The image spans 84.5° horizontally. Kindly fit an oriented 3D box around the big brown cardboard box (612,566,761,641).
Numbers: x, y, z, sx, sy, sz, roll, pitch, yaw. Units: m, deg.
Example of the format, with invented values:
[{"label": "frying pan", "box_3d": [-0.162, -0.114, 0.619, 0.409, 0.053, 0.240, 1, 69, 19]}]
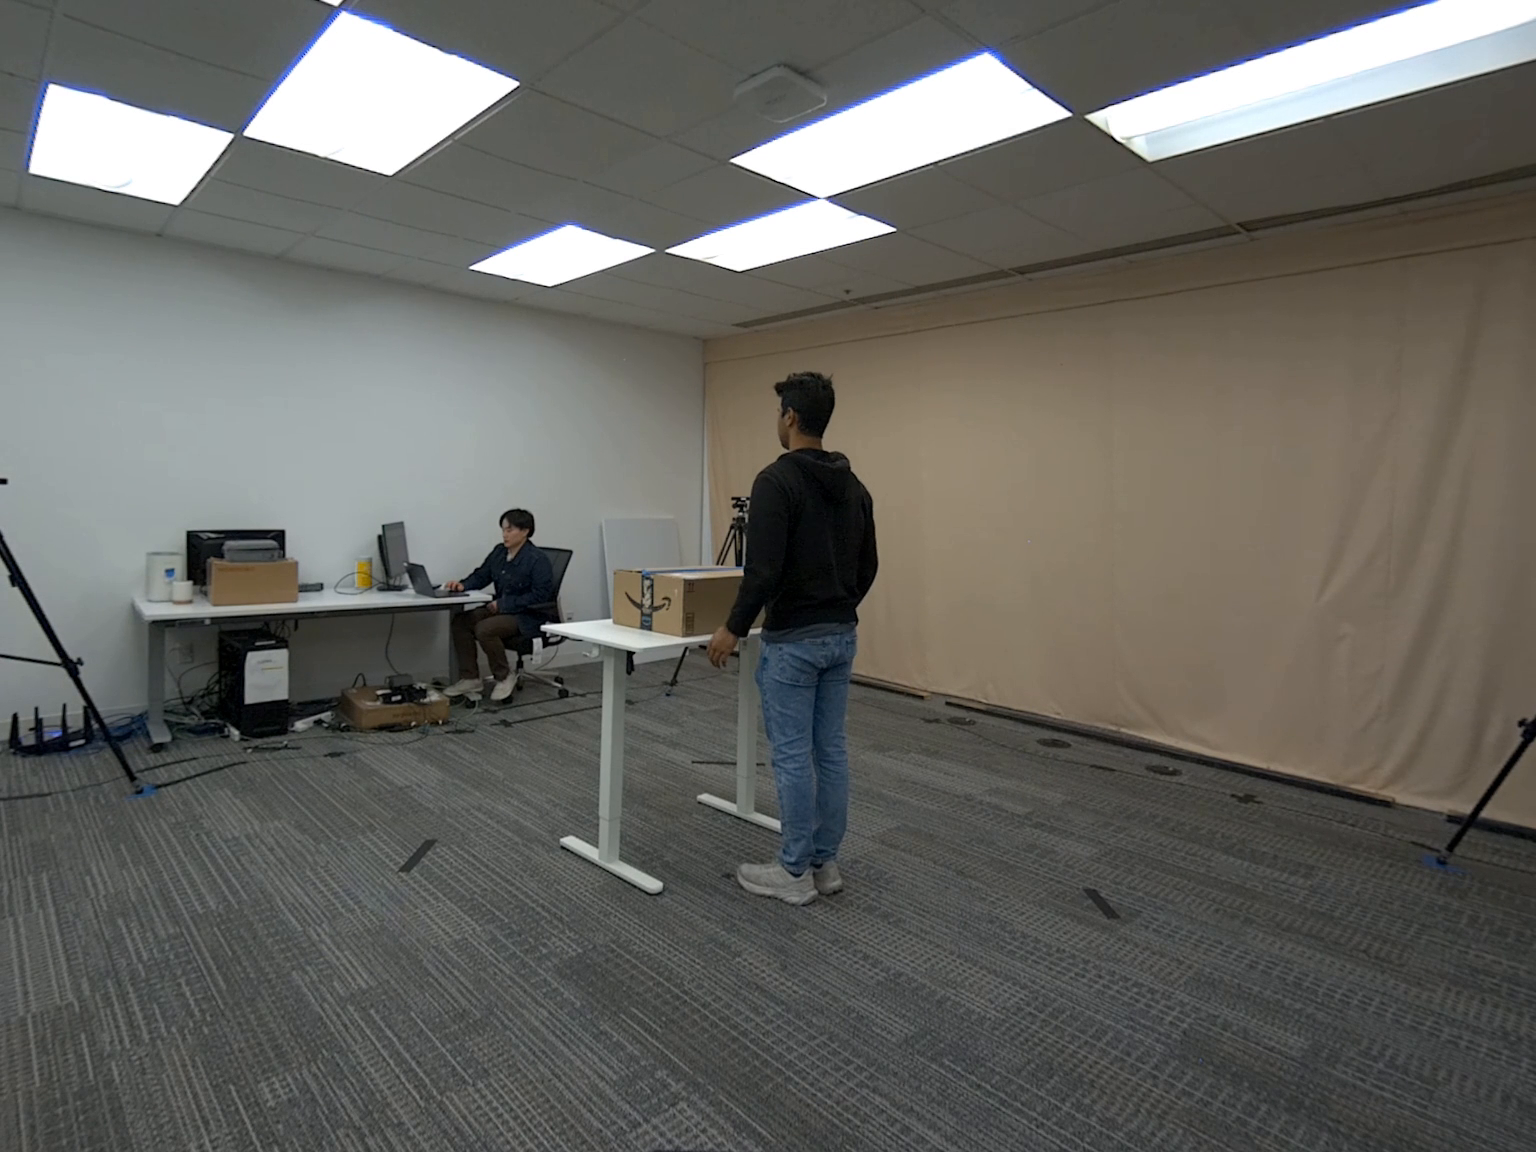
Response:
[{"label": "big brown cardboard box", "box_3d": [-0.279, 0.085, 3.388, 0.428, 0.232, 0.575, 5, 5, 42]}]
